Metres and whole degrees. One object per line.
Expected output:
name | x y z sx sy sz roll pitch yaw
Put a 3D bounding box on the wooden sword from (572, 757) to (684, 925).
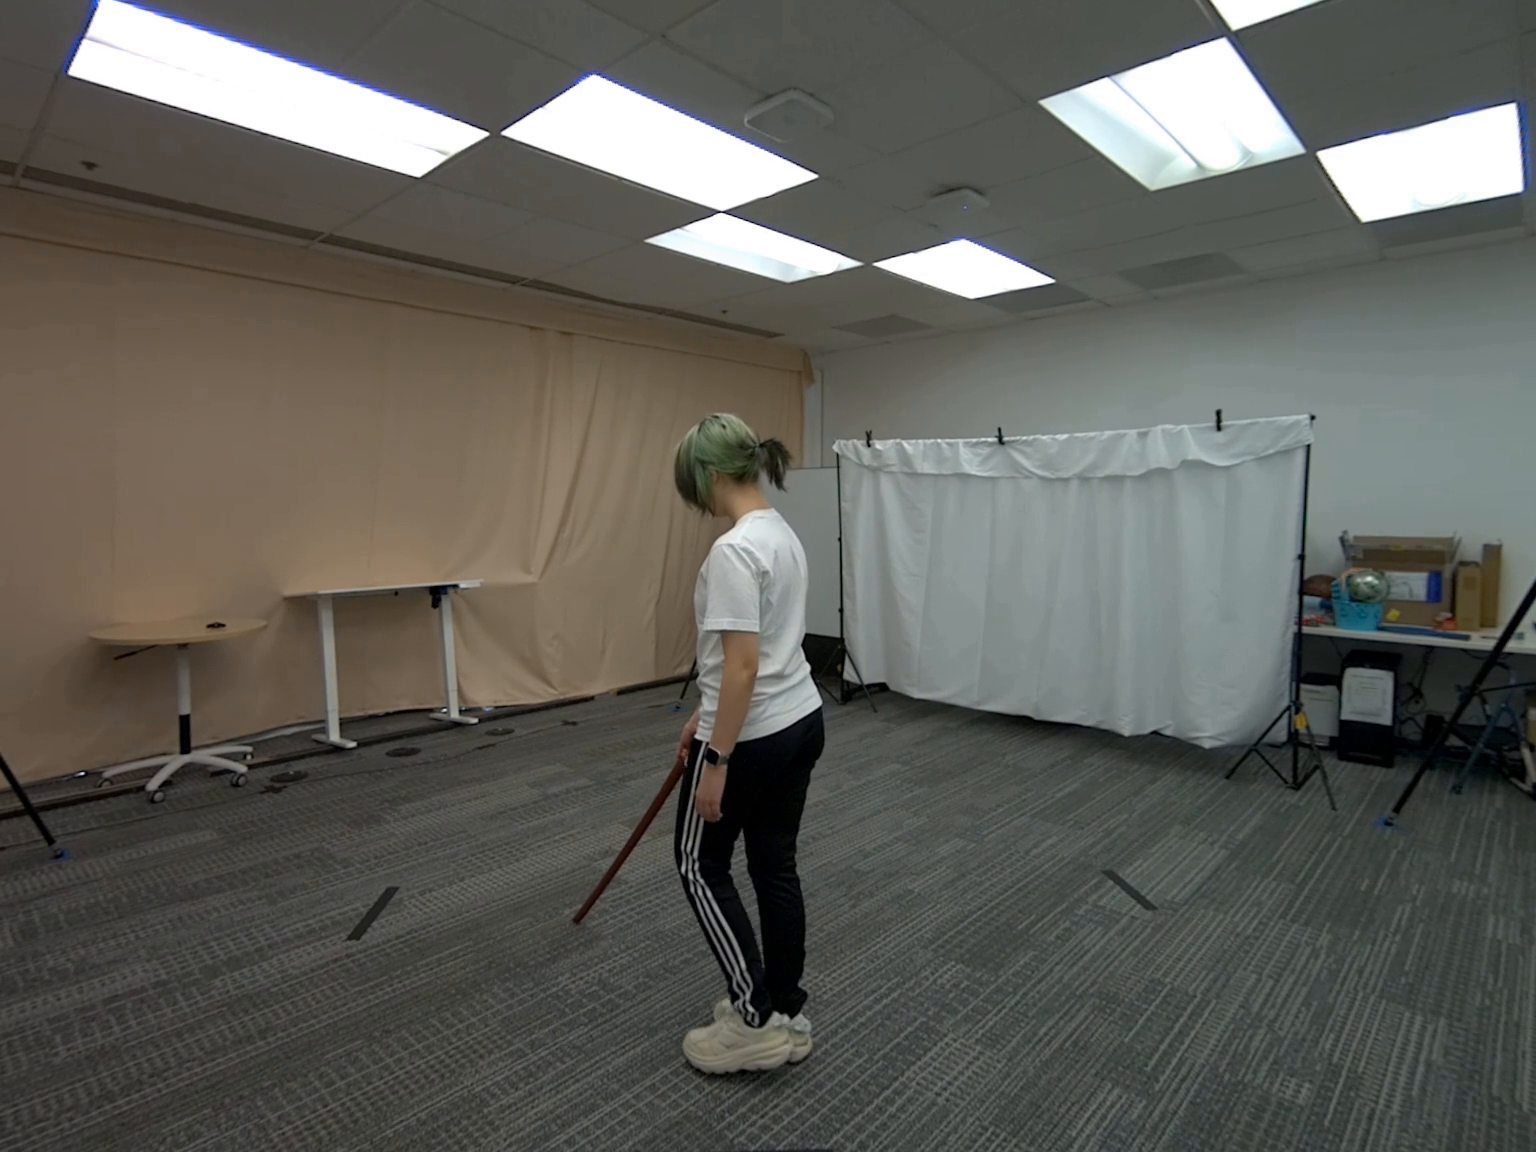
wooden sword | -0.424 0.806 2.550 0.024 1.026 0.051 32 33 -2
